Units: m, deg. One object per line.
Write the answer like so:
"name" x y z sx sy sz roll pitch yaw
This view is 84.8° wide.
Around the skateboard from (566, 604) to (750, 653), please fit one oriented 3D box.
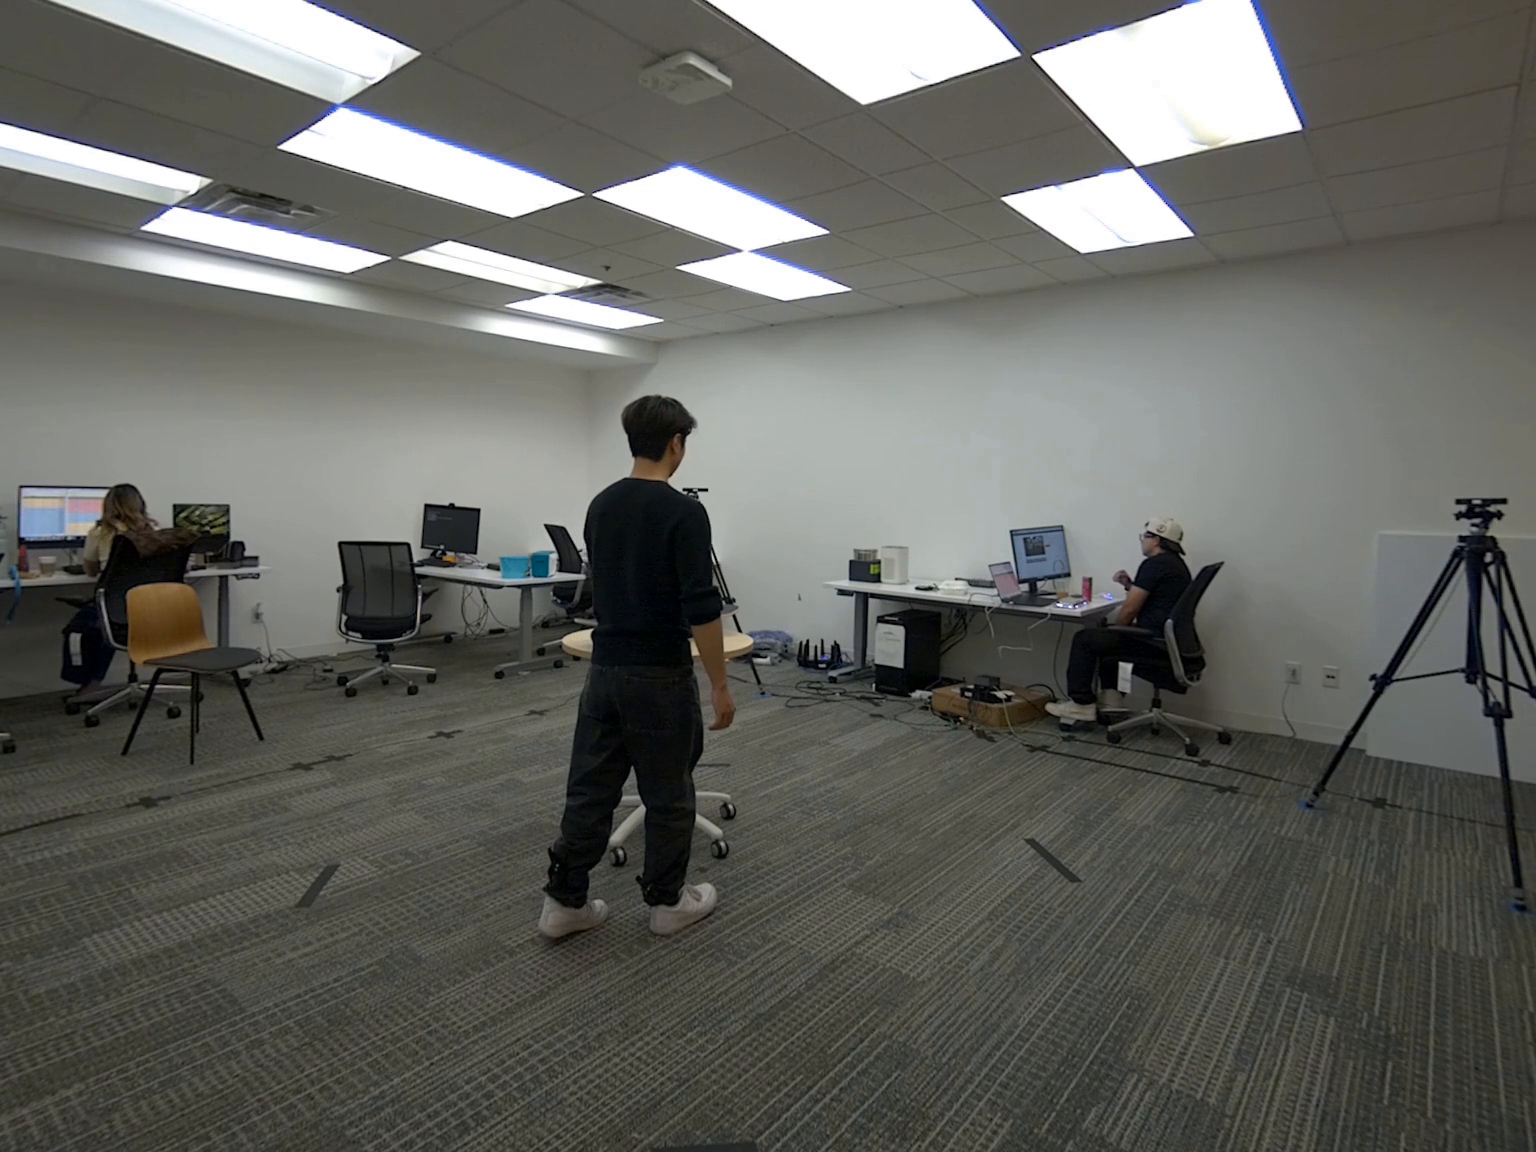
"skateboard" -0.431 0.201 3.429 0.762 0.110 0.200 -4 7 -43
